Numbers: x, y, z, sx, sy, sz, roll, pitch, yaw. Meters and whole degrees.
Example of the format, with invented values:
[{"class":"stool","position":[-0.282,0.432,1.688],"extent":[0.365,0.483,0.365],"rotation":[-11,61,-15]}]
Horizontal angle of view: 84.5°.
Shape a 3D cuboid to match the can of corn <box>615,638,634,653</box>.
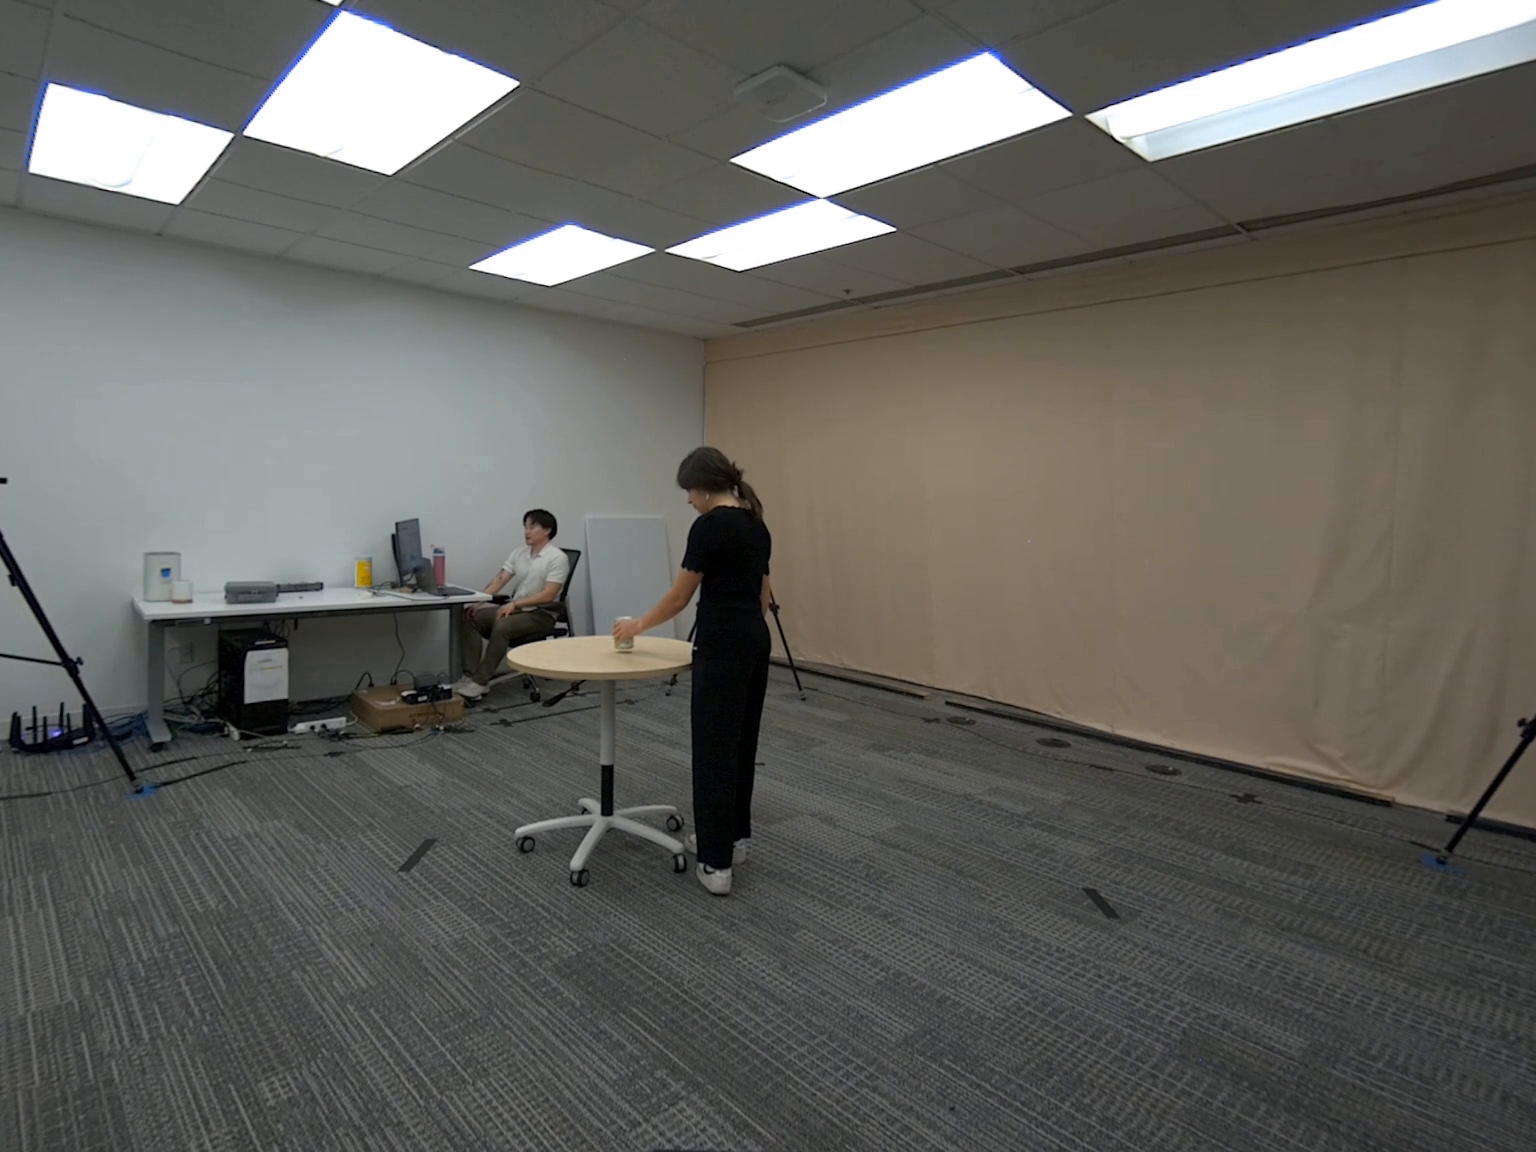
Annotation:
[{"class":"can of corn","position":[-0.554,0.221,3.264],"extent":[0.074,0.110,0.074],"rotation":[0,6,-1]}]
